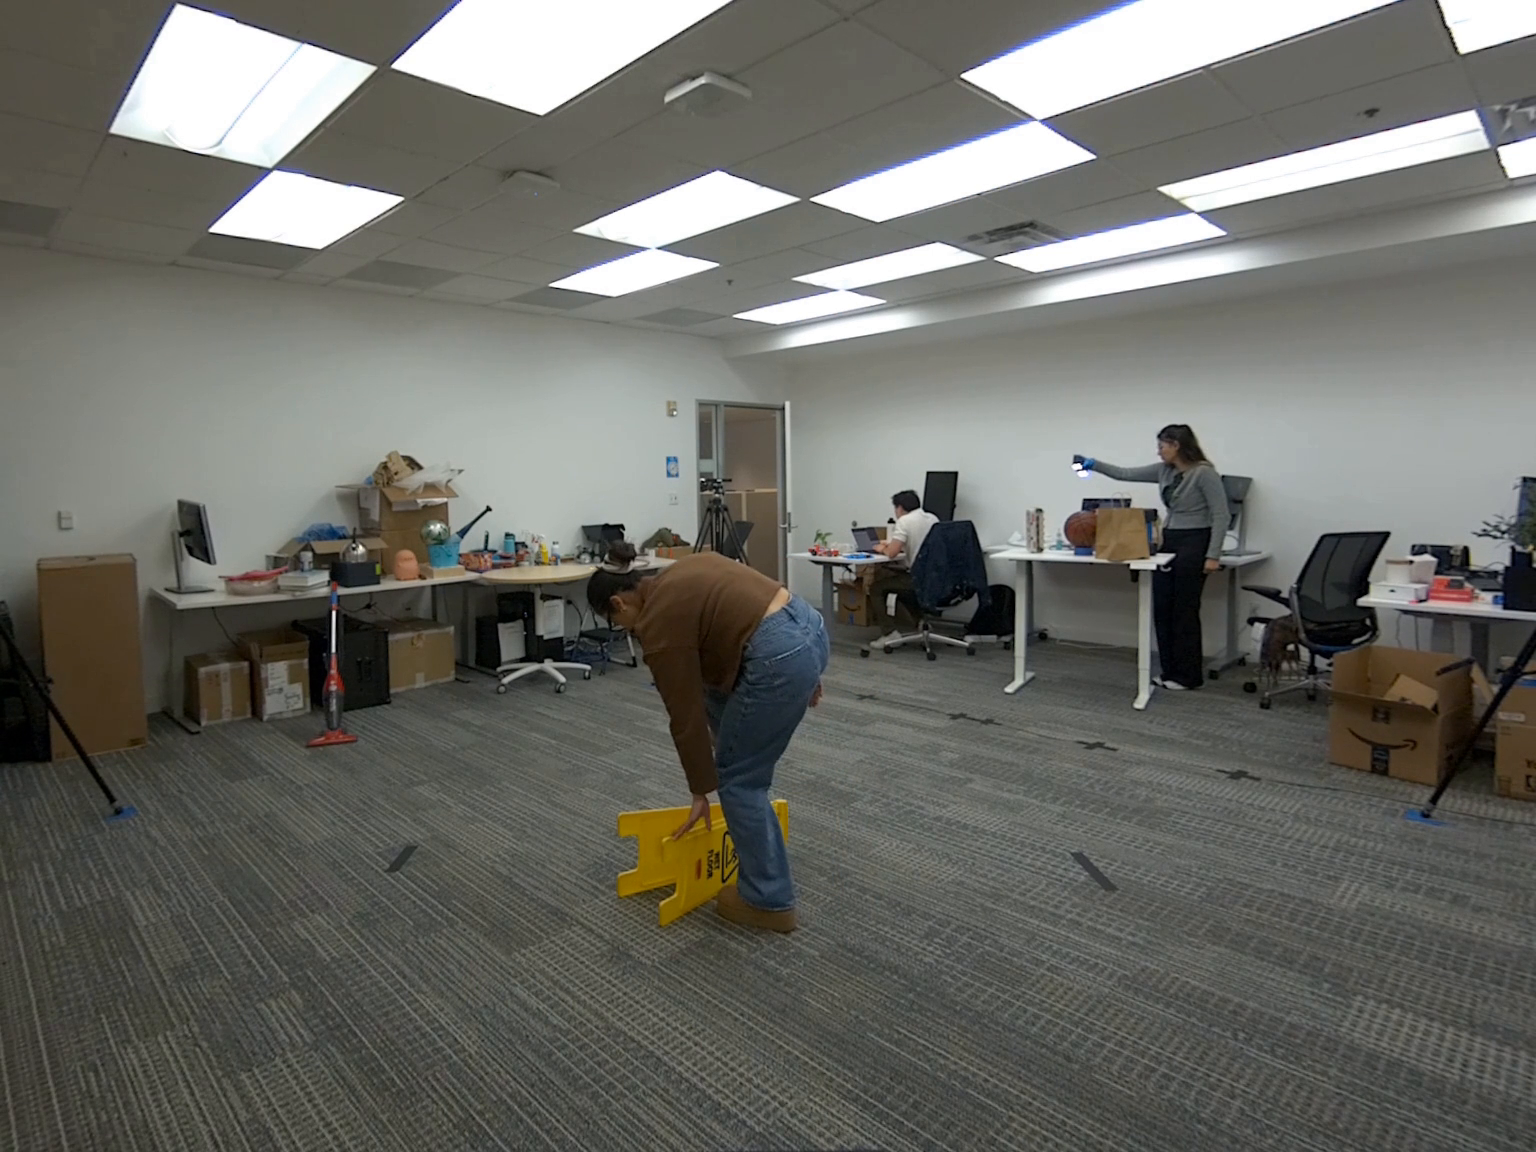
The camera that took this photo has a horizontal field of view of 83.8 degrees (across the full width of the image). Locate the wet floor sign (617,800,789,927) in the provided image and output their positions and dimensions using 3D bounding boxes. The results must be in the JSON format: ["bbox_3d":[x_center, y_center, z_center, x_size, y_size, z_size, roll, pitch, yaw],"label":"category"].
[{"bbox_3d":[-0.178,0.937,2.969,0.628,0.281,0.298,-3,5,-40],"label":"wet floor sign"}]
